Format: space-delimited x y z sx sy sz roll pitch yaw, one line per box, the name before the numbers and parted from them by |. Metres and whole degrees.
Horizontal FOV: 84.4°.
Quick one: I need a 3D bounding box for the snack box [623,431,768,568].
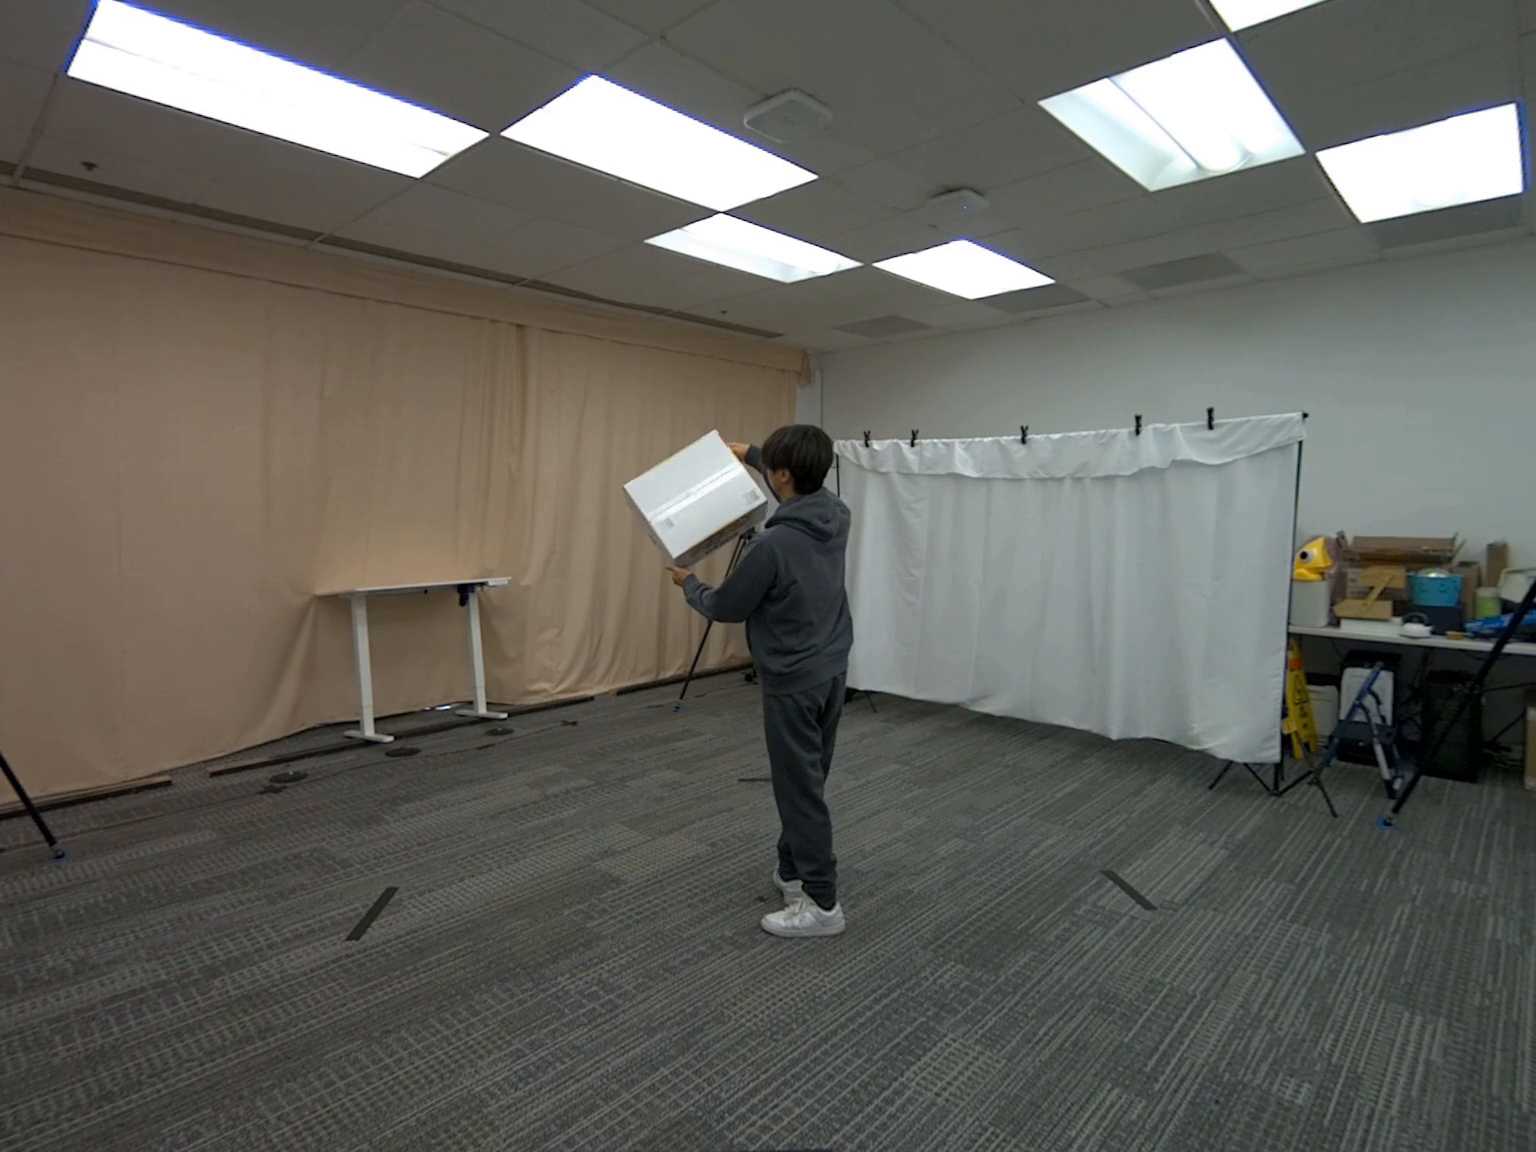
snack box | -0.264 -0.270 3.107 0.403 0.346 0.203 -33 -15 -10
